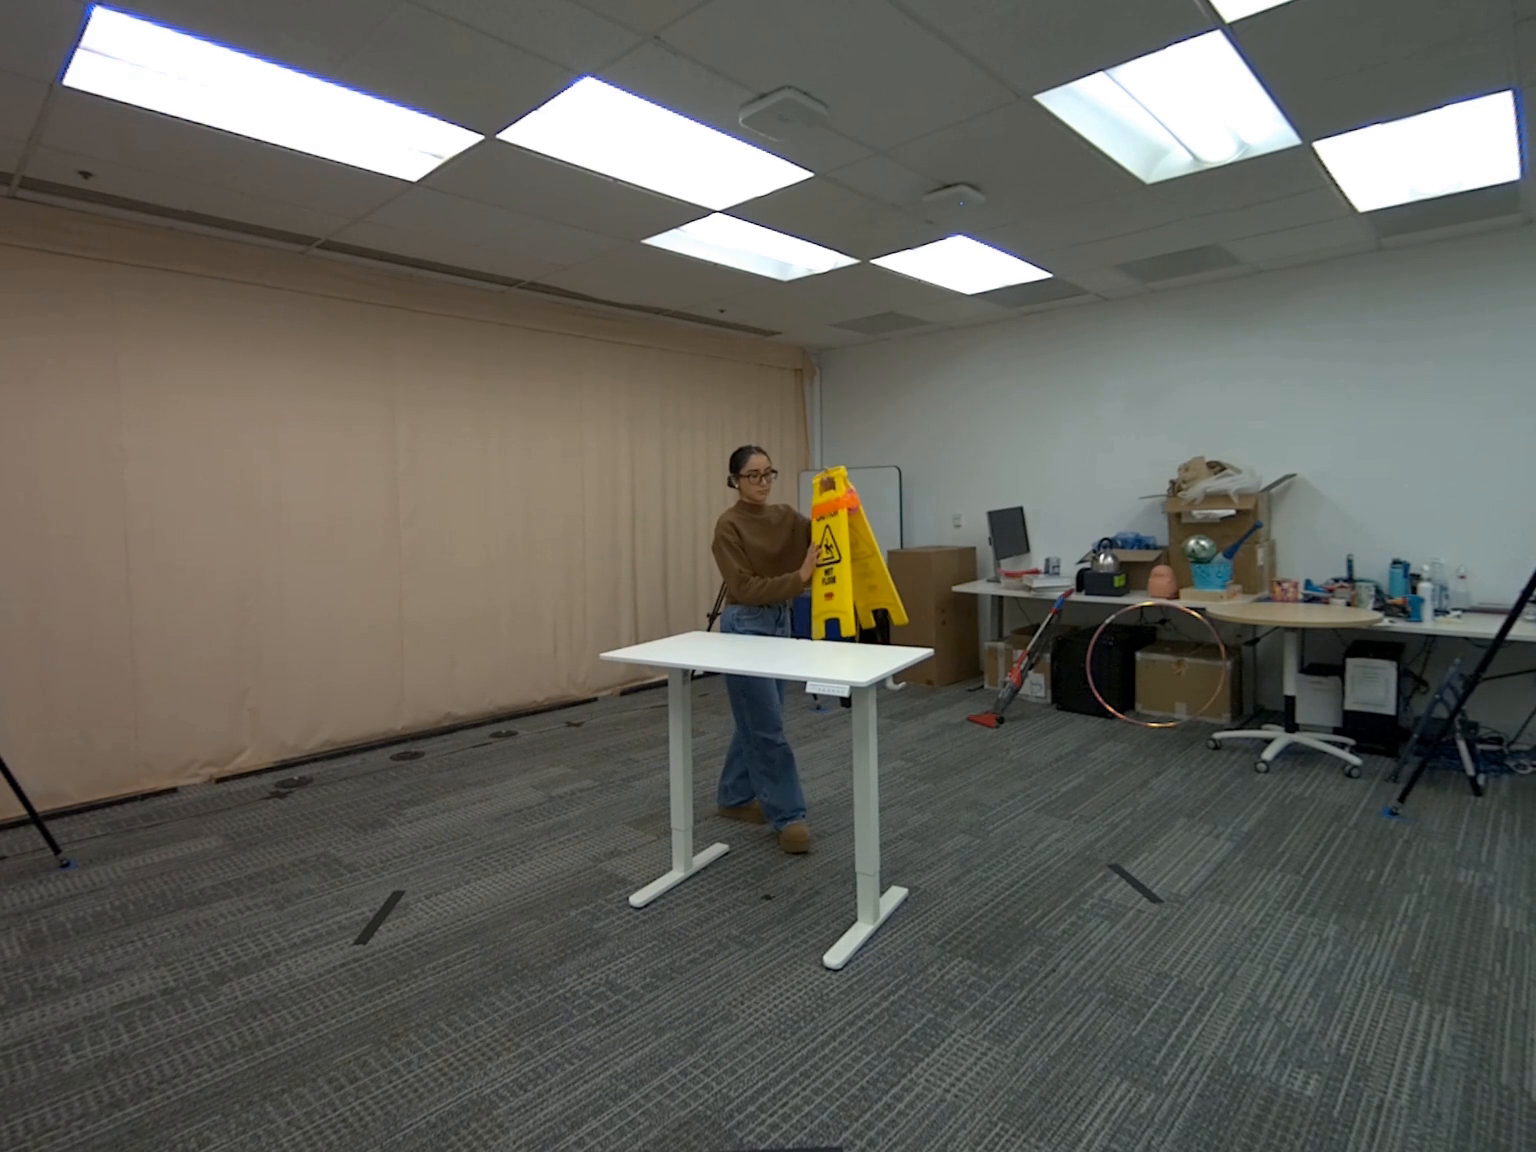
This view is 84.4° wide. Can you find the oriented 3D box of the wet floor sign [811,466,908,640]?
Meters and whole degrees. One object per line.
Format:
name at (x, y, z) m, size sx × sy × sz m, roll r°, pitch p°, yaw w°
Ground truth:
wet floor sign at (0.303, -0.098, 3.317) m, size 0.282 × 0.648 × 0.288 m, roll -9°, pitch -4°, yaw -31°
